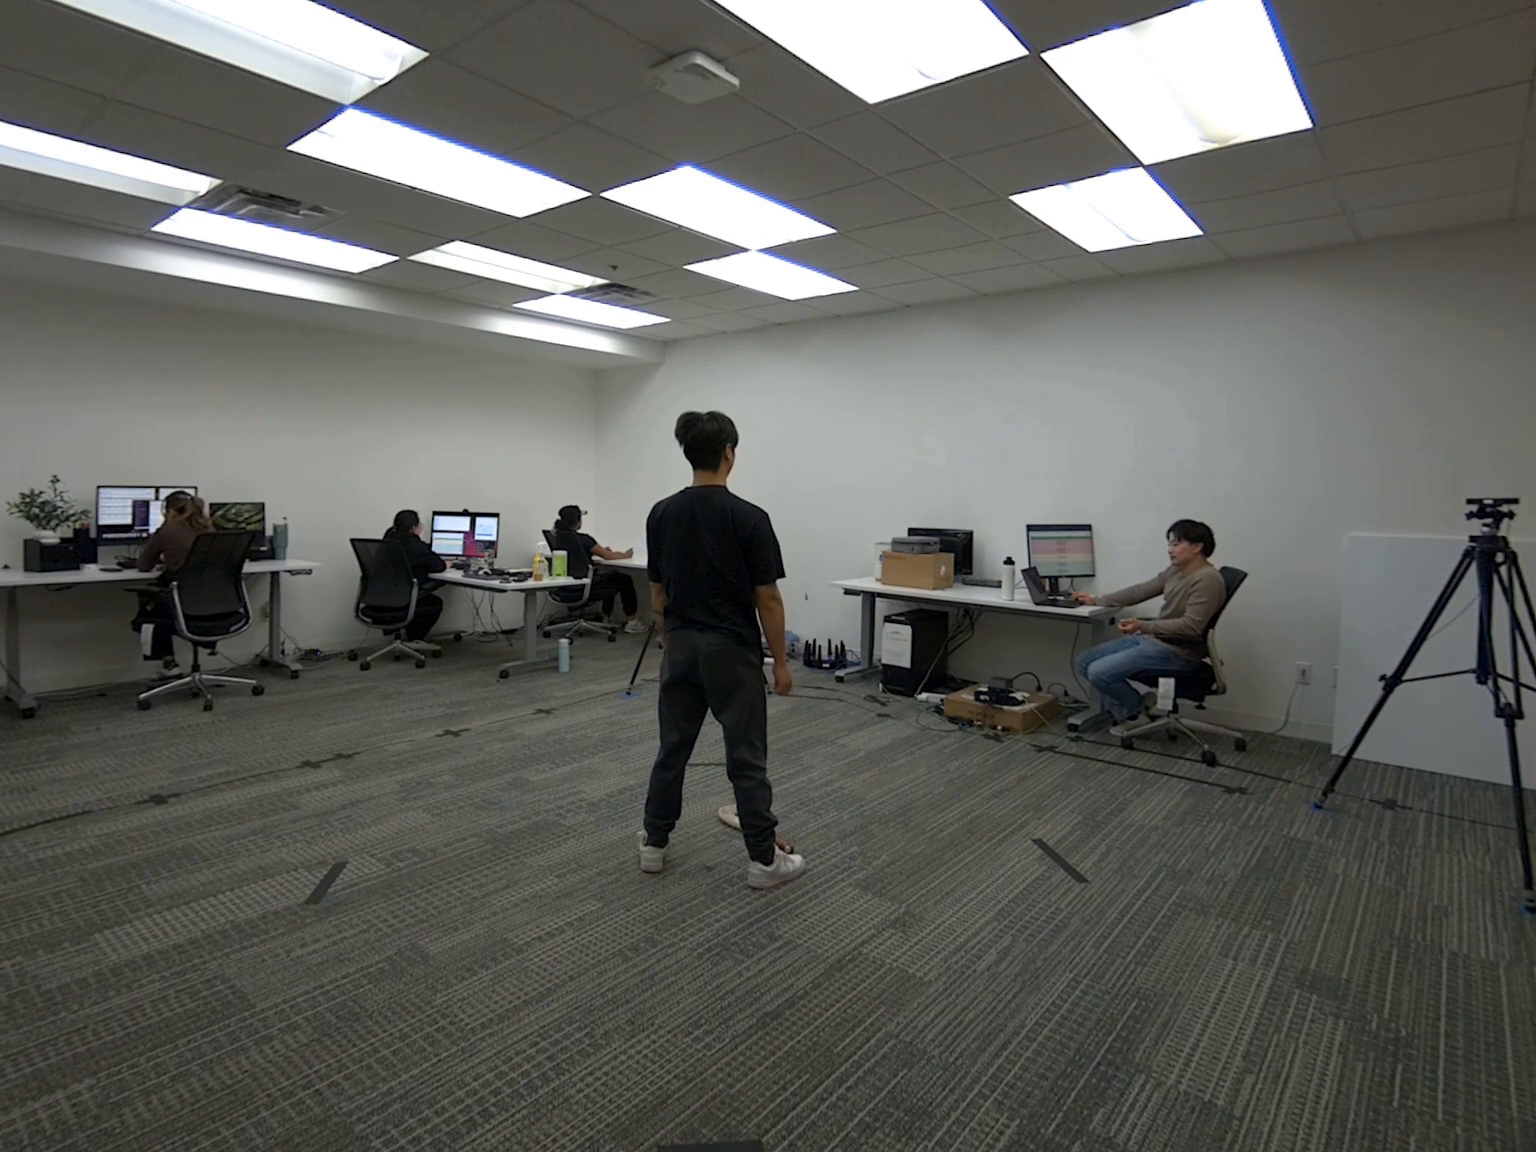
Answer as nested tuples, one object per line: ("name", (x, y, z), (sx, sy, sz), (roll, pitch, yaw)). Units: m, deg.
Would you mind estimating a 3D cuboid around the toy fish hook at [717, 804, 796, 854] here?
("toy fish hook", (-0.021, 1.012, 3.459), (0.218, 0.048, 0.523), (-5, 8, -33))
